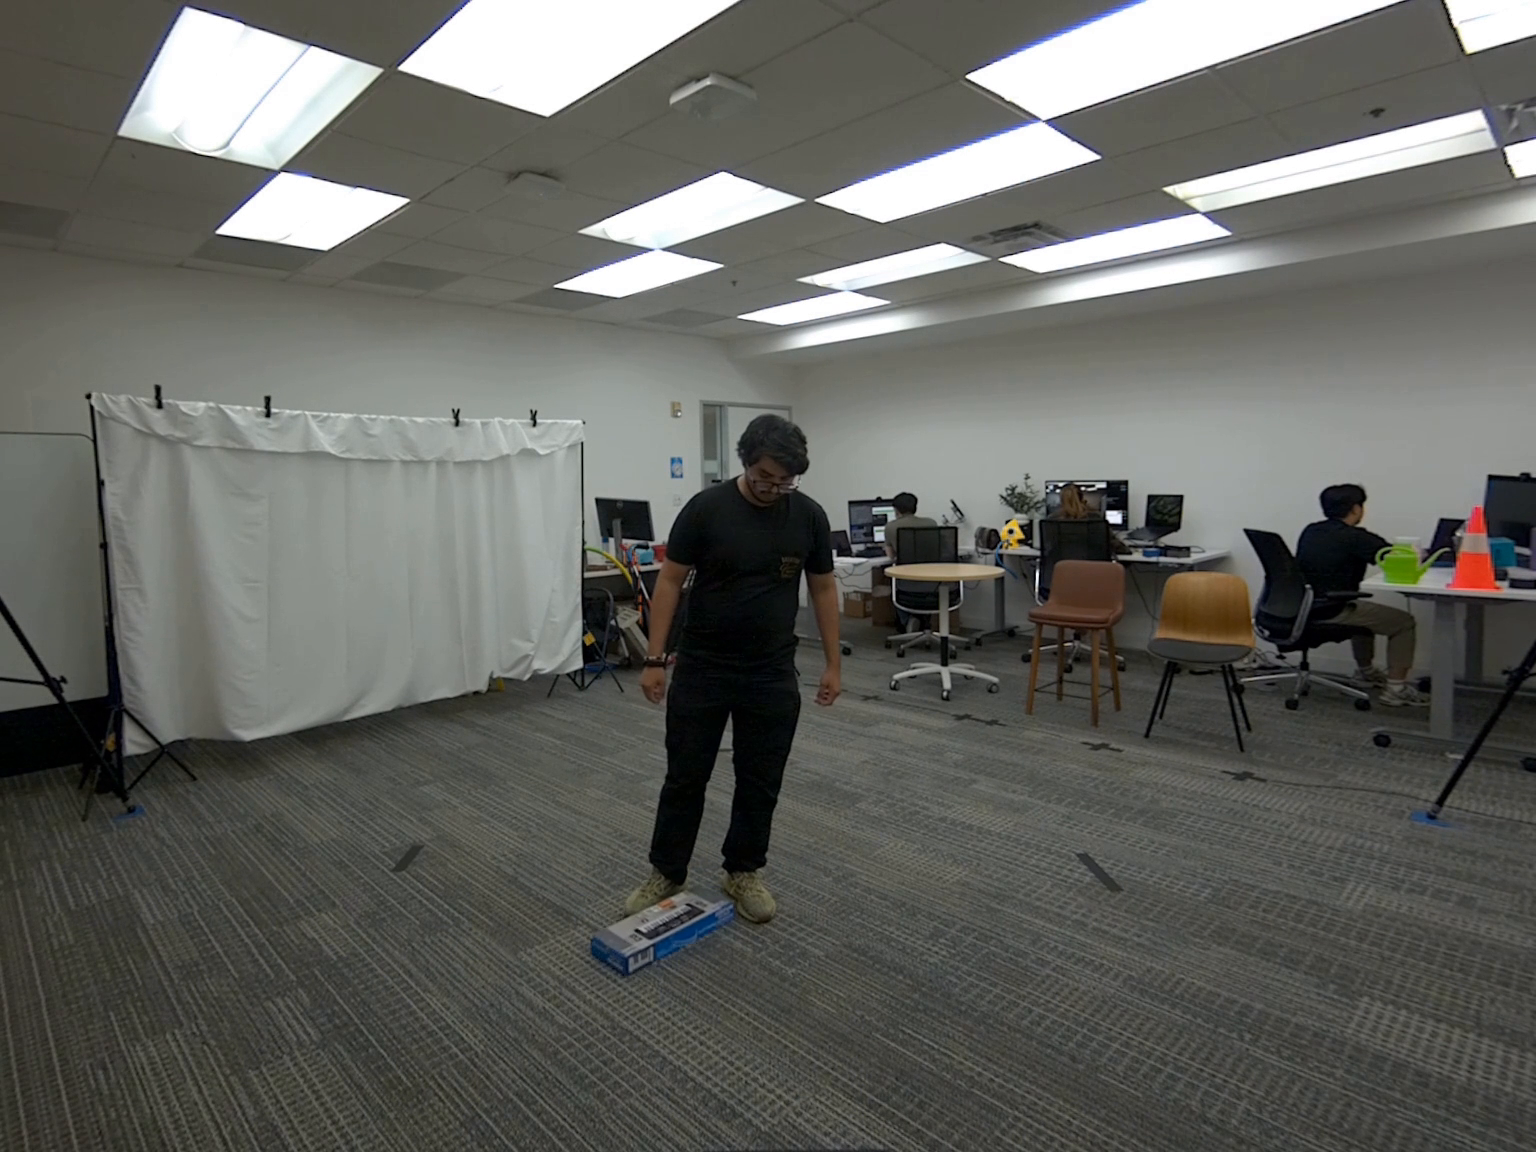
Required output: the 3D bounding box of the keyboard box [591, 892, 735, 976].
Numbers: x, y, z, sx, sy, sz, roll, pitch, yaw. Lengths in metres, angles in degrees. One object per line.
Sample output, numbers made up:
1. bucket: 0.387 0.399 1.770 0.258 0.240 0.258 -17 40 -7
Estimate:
1. keyboard box: -0.311 1.078 2.625 0.181 0.059 0.426 5 9 44
